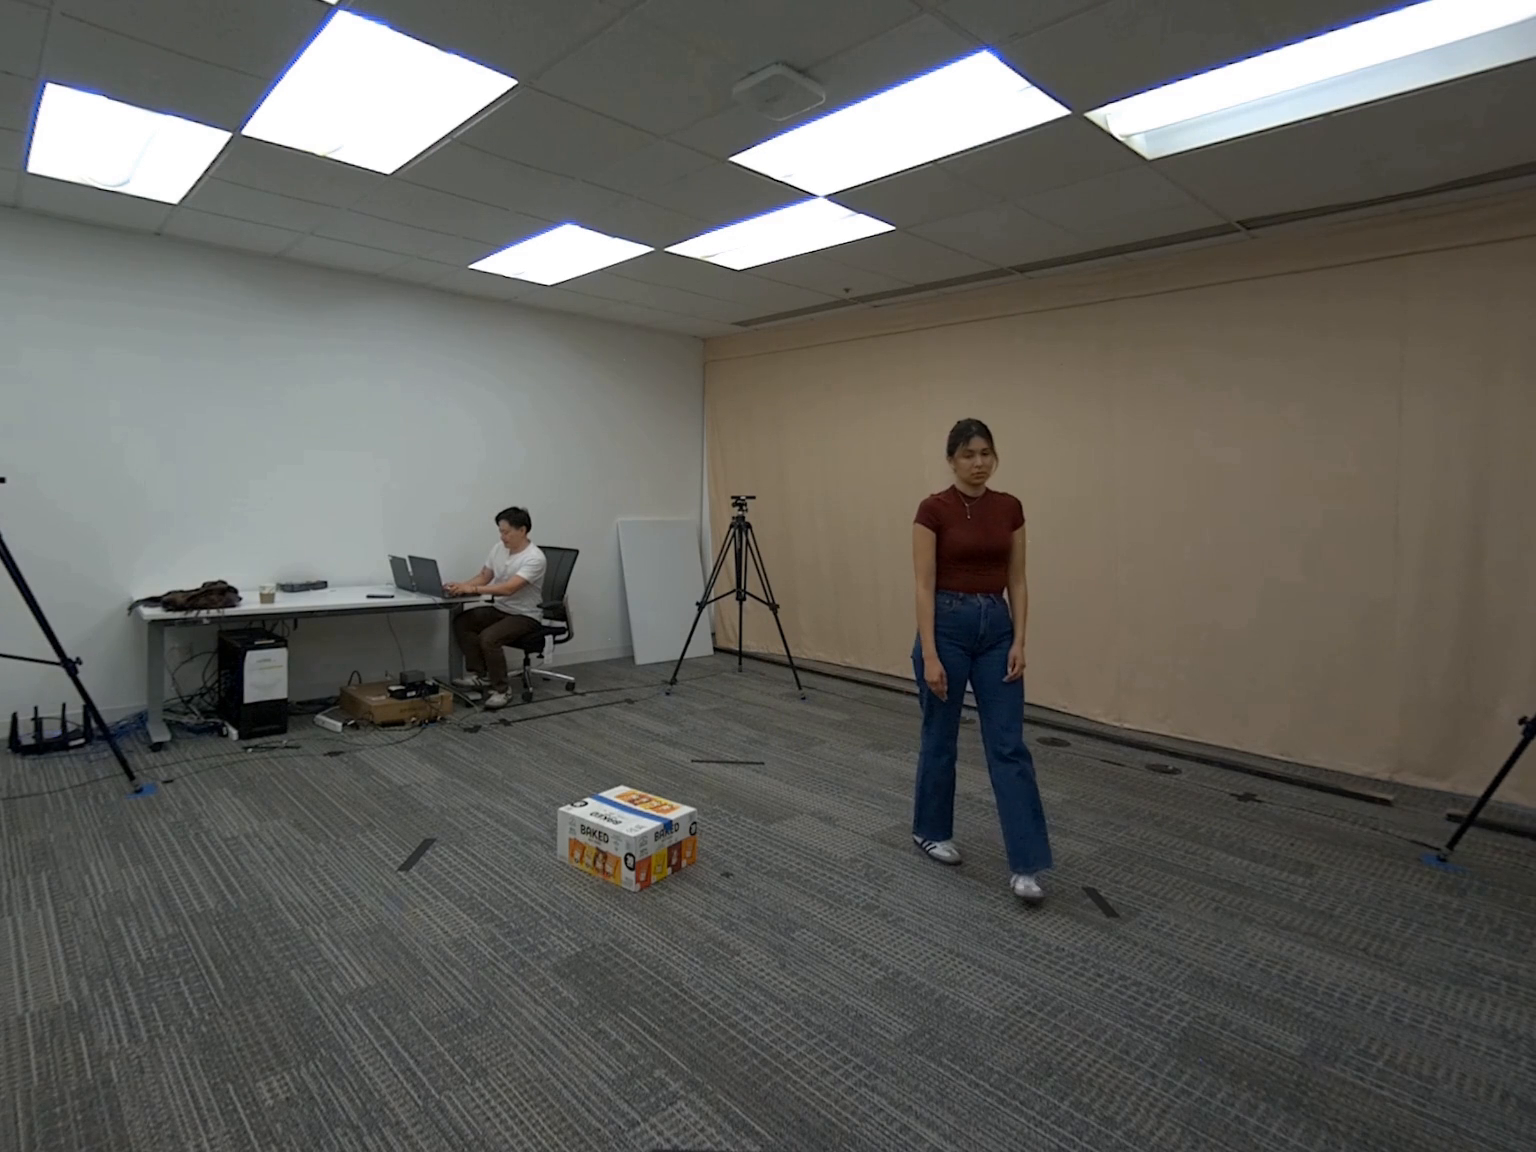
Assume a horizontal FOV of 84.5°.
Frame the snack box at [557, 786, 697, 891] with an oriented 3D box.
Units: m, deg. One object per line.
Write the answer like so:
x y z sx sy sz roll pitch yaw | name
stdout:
-0.540 0.984 3.190 0.415 0.205 0.333 5 6 36 | snack box
